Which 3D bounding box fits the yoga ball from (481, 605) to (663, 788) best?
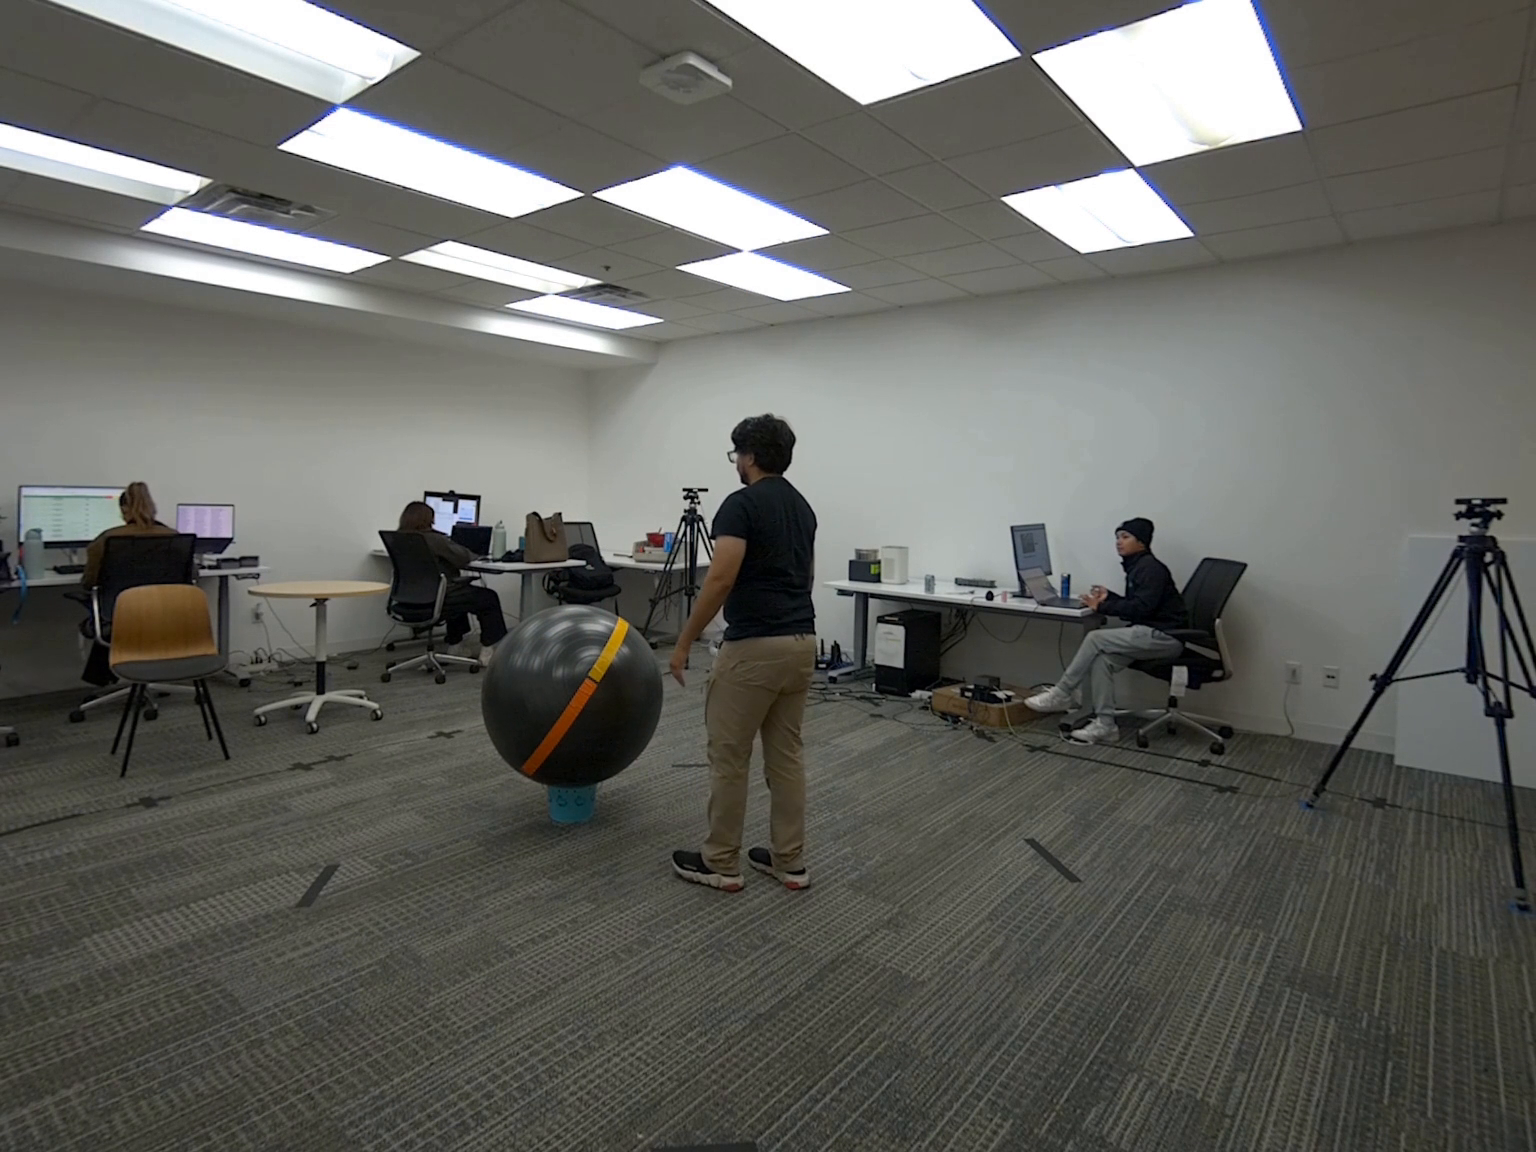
[{"bbox_3d":[-0.834,0.501,3.593,0.757,0.756,0.762,1,4,-2],"label":"yoga ball"}]
